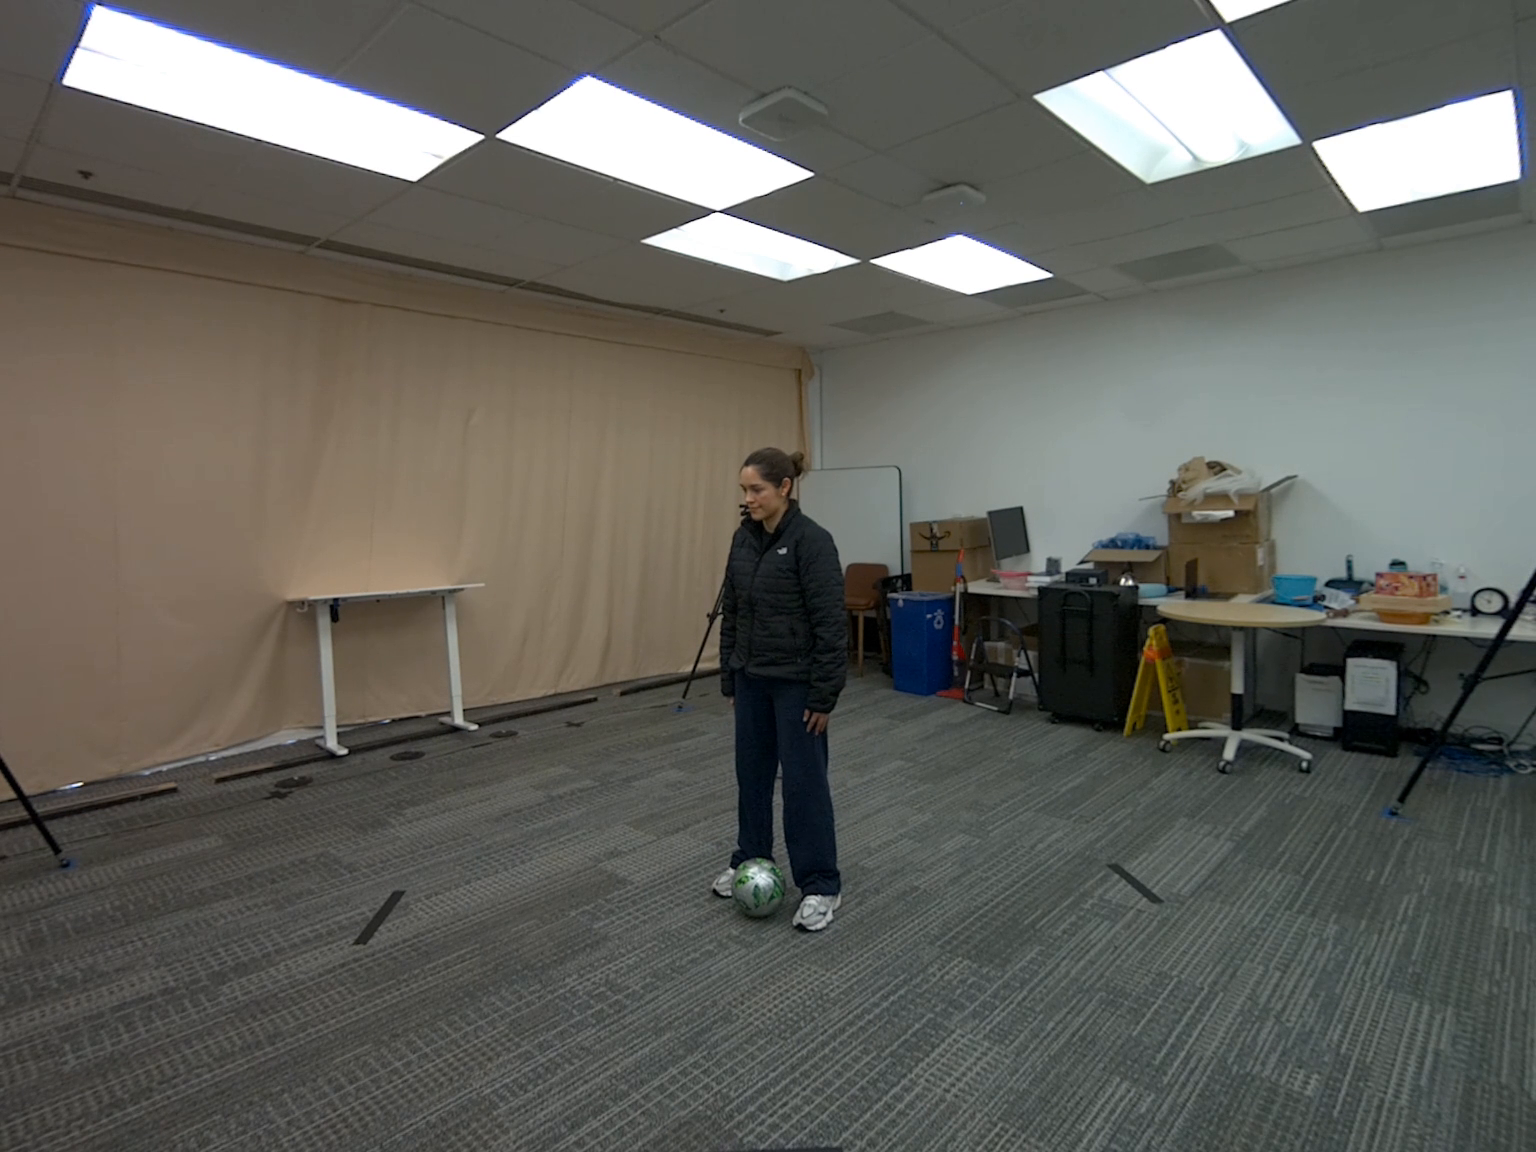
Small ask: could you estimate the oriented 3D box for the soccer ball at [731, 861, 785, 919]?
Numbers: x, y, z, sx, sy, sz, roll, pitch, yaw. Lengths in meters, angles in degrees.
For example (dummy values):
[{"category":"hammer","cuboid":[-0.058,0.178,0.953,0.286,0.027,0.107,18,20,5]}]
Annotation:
[{"category":"soccer ball","cuboid":[-0.029,1.053,2.866,0.187,0.187,0.188,-1,4,-2]}]
